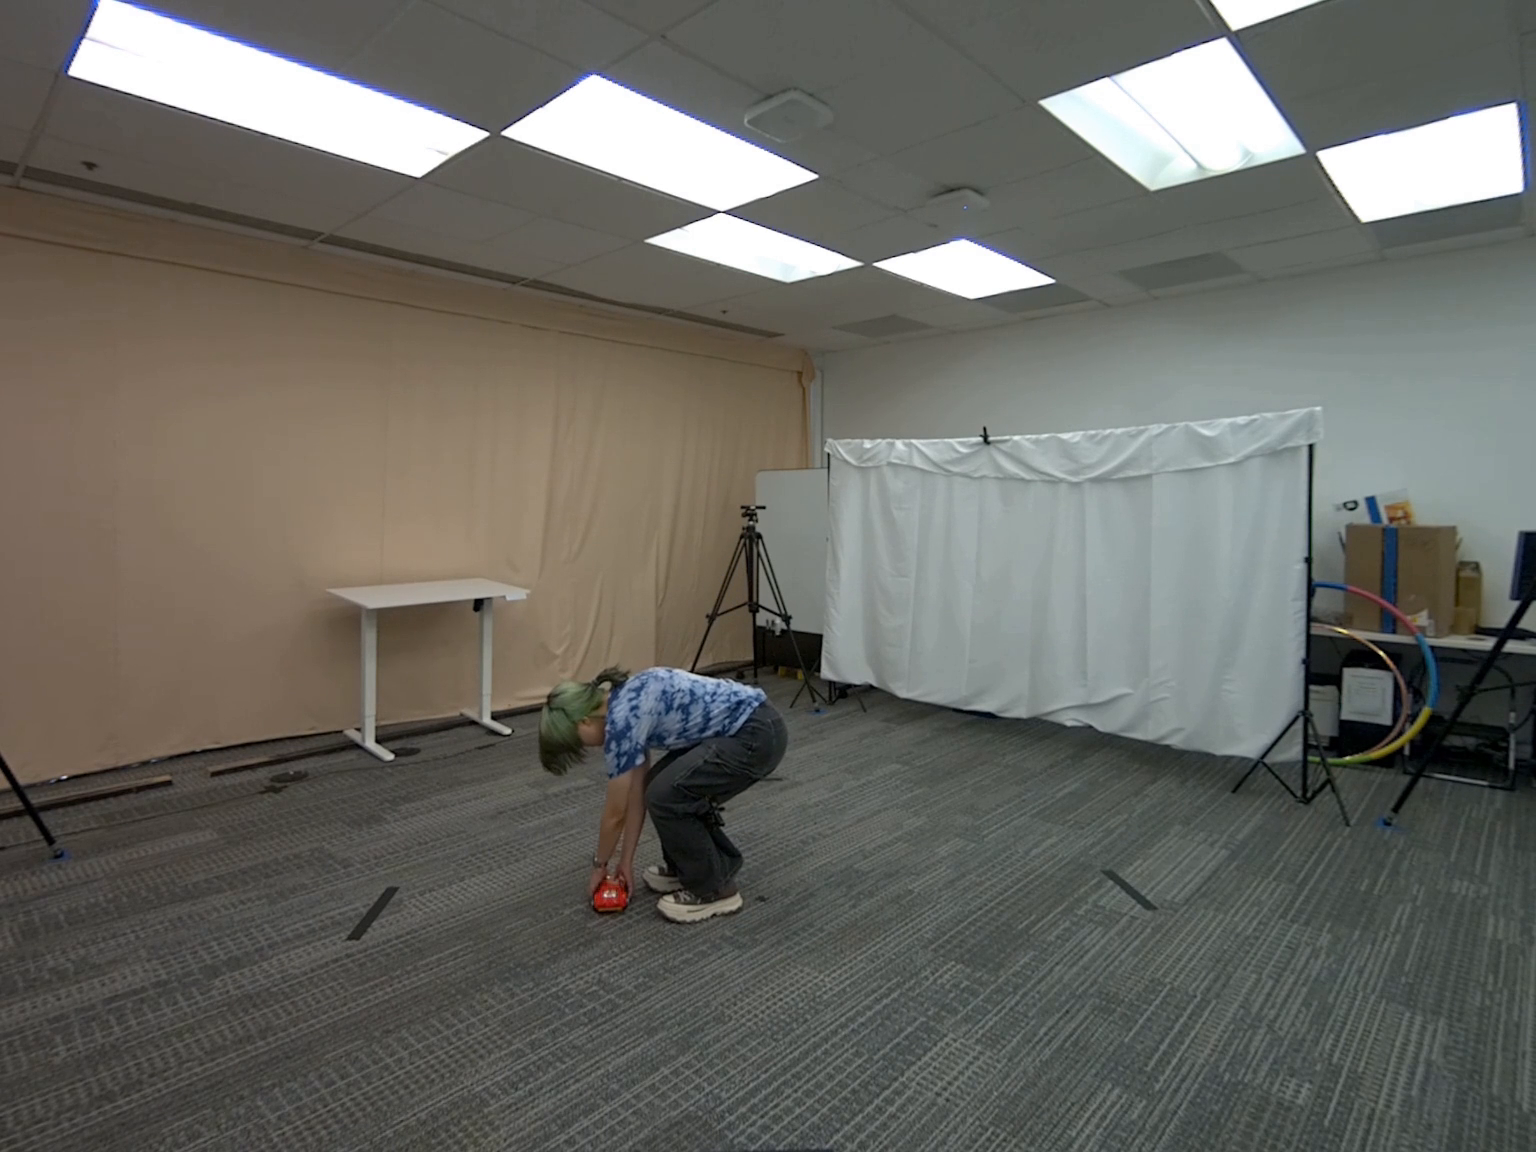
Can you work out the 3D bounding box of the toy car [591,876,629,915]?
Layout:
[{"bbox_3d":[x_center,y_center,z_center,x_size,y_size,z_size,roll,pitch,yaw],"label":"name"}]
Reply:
[{"bbox_3d":[-0.549,1.128,2.966,0.129,0.083,0.255,0,-4,-8],"label":"toy car"}]
